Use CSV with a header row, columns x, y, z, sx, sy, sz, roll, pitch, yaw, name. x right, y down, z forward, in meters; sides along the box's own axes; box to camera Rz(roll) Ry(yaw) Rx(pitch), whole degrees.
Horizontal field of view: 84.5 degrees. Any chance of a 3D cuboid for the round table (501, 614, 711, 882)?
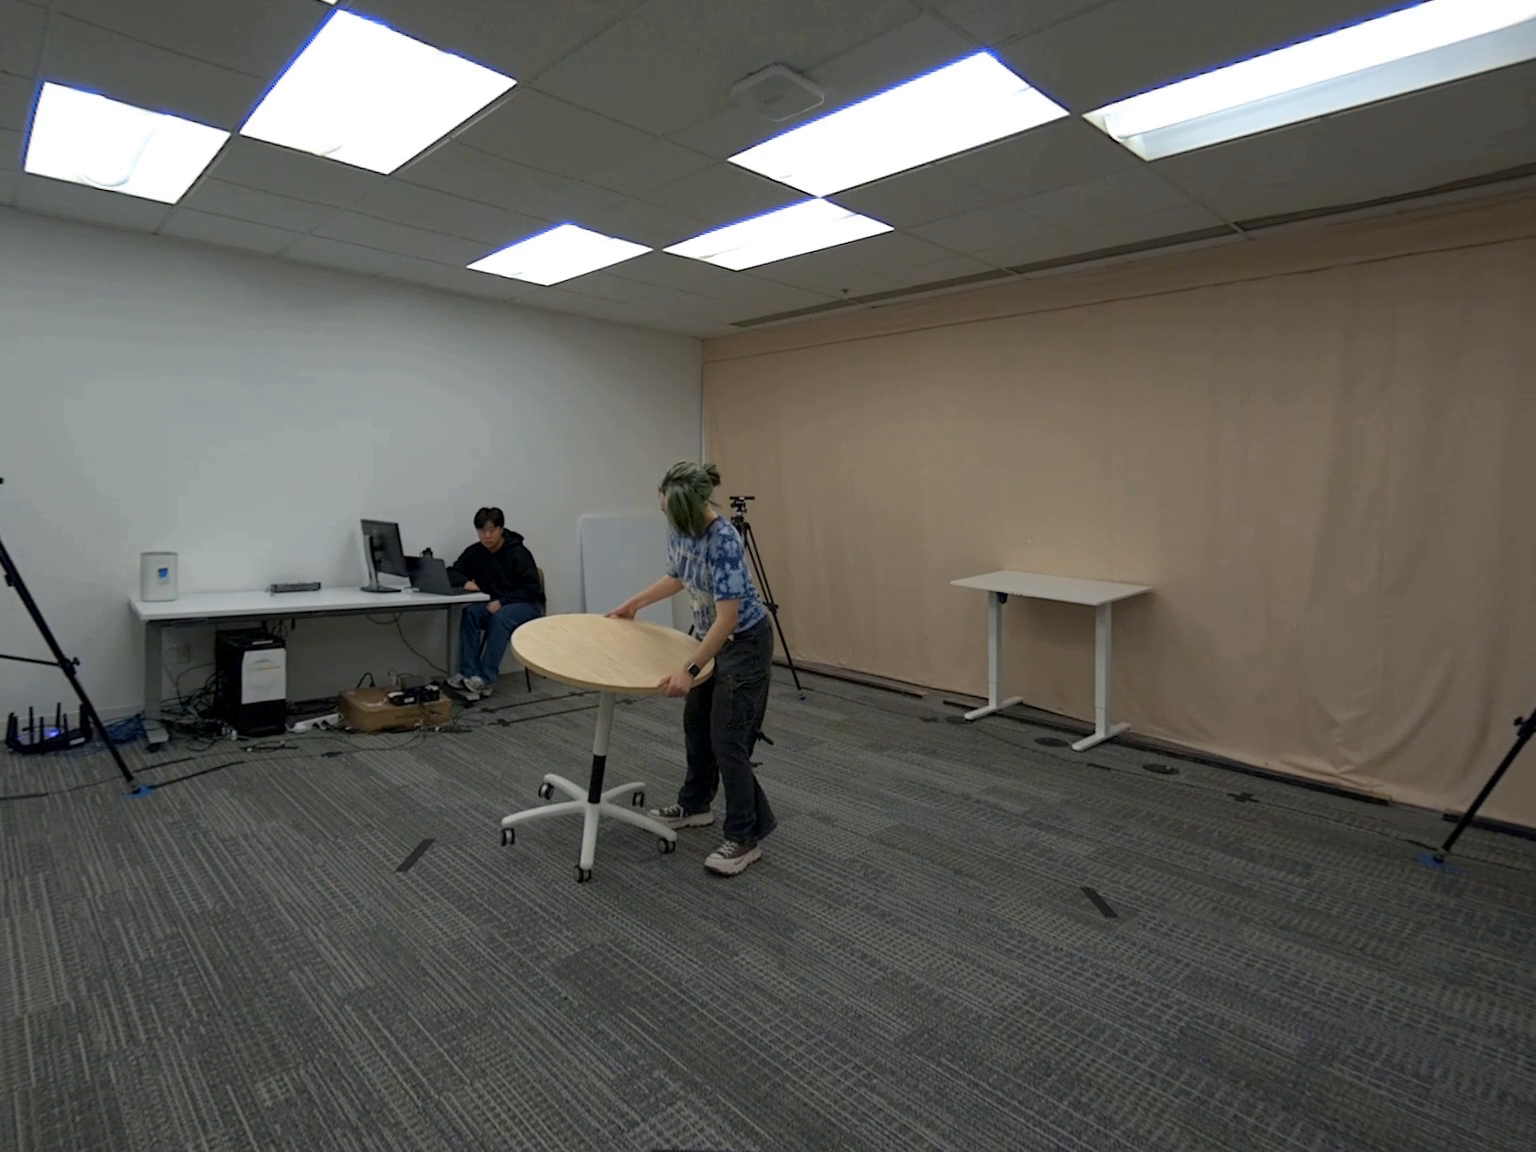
x,y,z,sx,sy,sz,roll,pitch,yaw,name
-0.658,0.649,3.258,0.762,0.788,0.771,8,12,-3,round table
